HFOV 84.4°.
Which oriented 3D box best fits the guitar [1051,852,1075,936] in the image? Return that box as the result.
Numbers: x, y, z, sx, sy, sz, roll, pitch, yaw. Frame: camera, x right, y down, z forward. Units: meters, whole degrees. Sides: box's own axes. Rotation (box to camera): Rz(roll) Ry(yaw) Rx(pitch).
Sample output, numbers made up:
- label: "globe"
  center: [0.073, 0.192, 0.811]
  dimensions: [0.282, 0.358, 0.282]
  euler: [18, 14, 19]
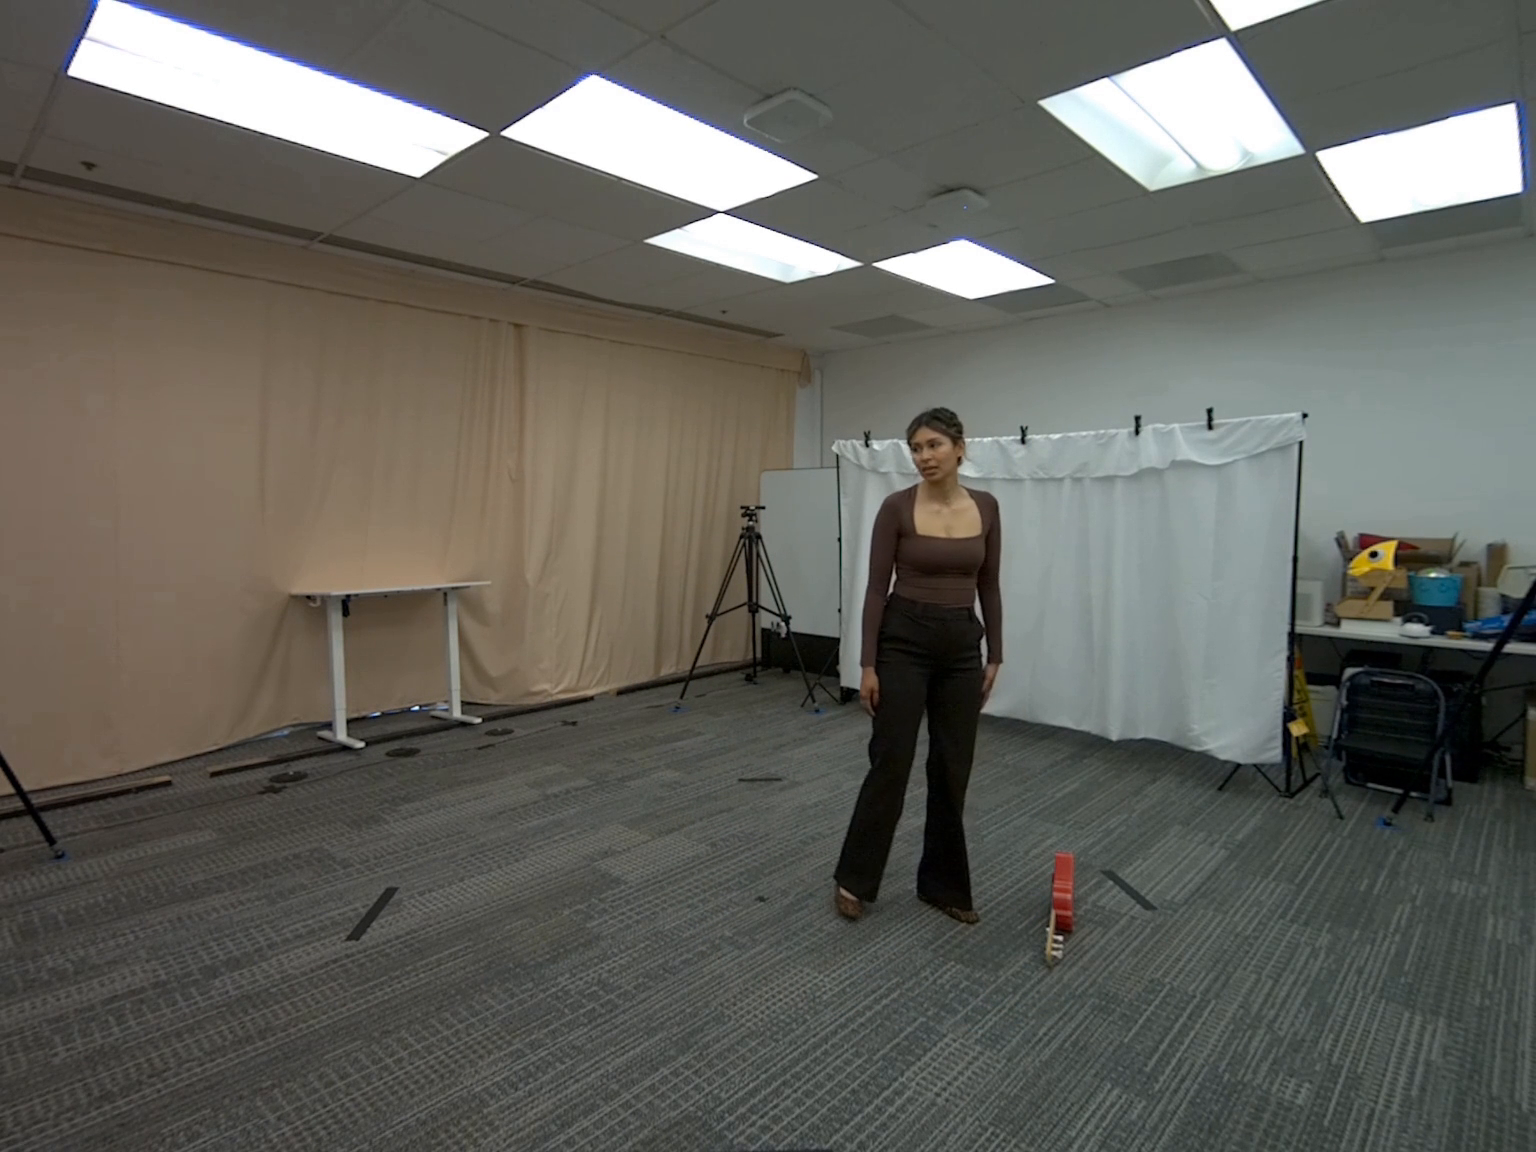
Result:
- label: "guitar"
  center: [0.963, 1.126, 2.740]
  dimensions: [0.072, 0.190, 0.493]
  euler: [0, 23, 23]
